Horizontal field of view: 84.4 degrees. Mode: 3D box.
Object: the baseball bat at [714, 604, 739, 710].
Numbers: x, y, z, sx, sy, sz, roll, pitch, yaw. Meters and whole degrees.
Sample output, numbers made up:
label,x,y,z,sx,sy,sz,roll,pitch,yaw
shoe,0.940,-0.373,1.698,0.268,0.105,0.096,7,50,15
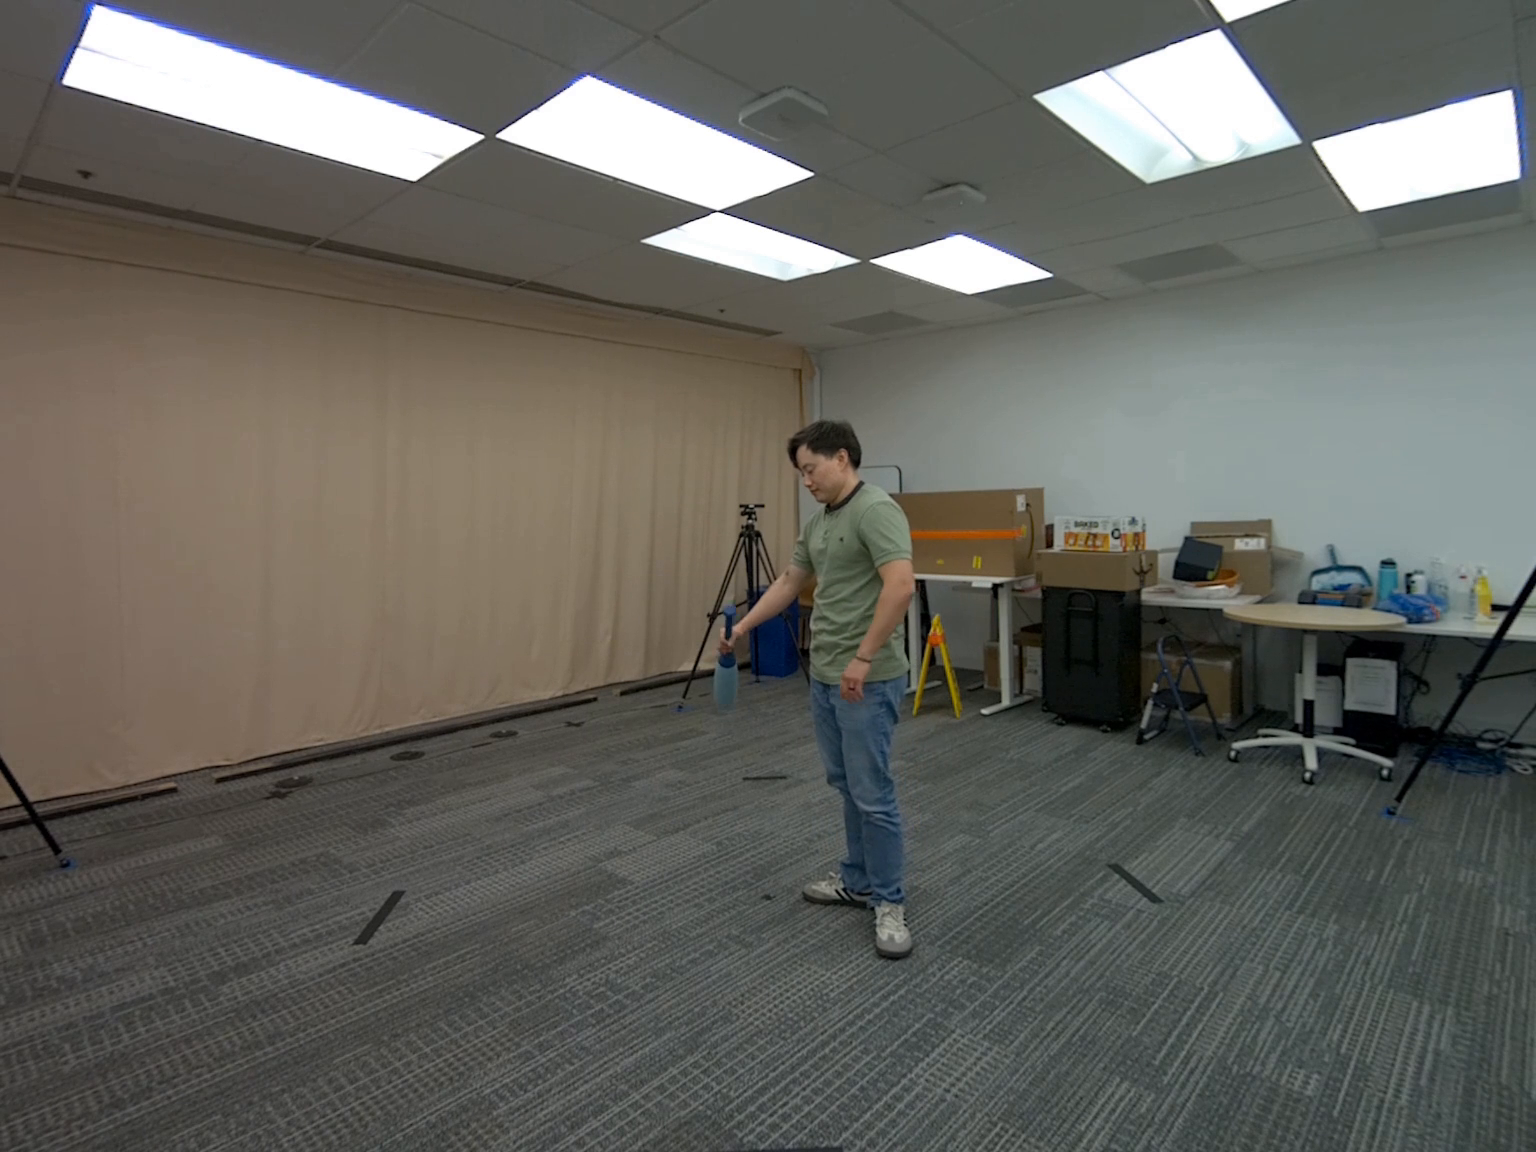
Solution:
label,x,y,z,sx,sy,sz,roll,pitch,yaw
baseball bat,-0.147,0.295,3.029,0.089,0.532,0.091,-1,45,-1
